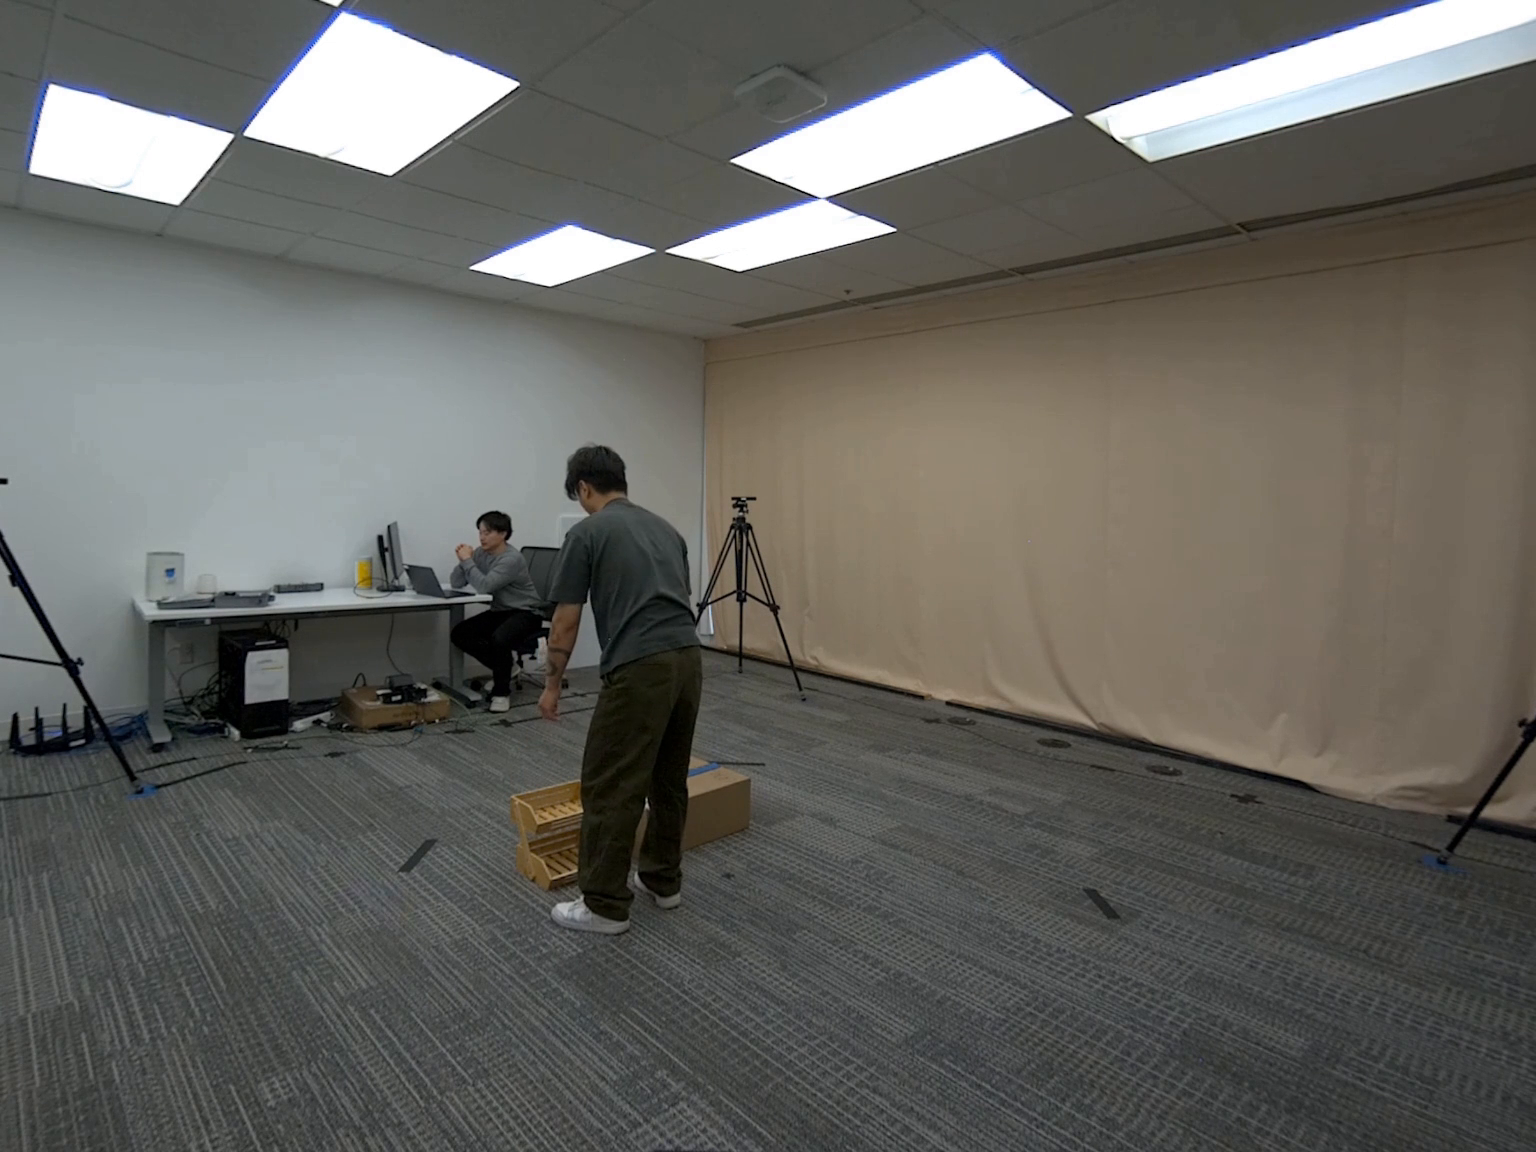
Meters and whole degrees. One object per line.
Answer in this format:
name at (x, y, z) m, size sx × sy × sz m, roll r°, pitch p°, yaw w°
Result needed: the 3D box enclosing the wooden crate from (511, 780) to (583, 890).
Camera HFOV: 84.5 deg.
wooden crate at (-0.760, 0.954, 3.136) m, size 0.317 × 0.272 × 0.310 m, roll -3°, pitch 6°, yaw -43°
